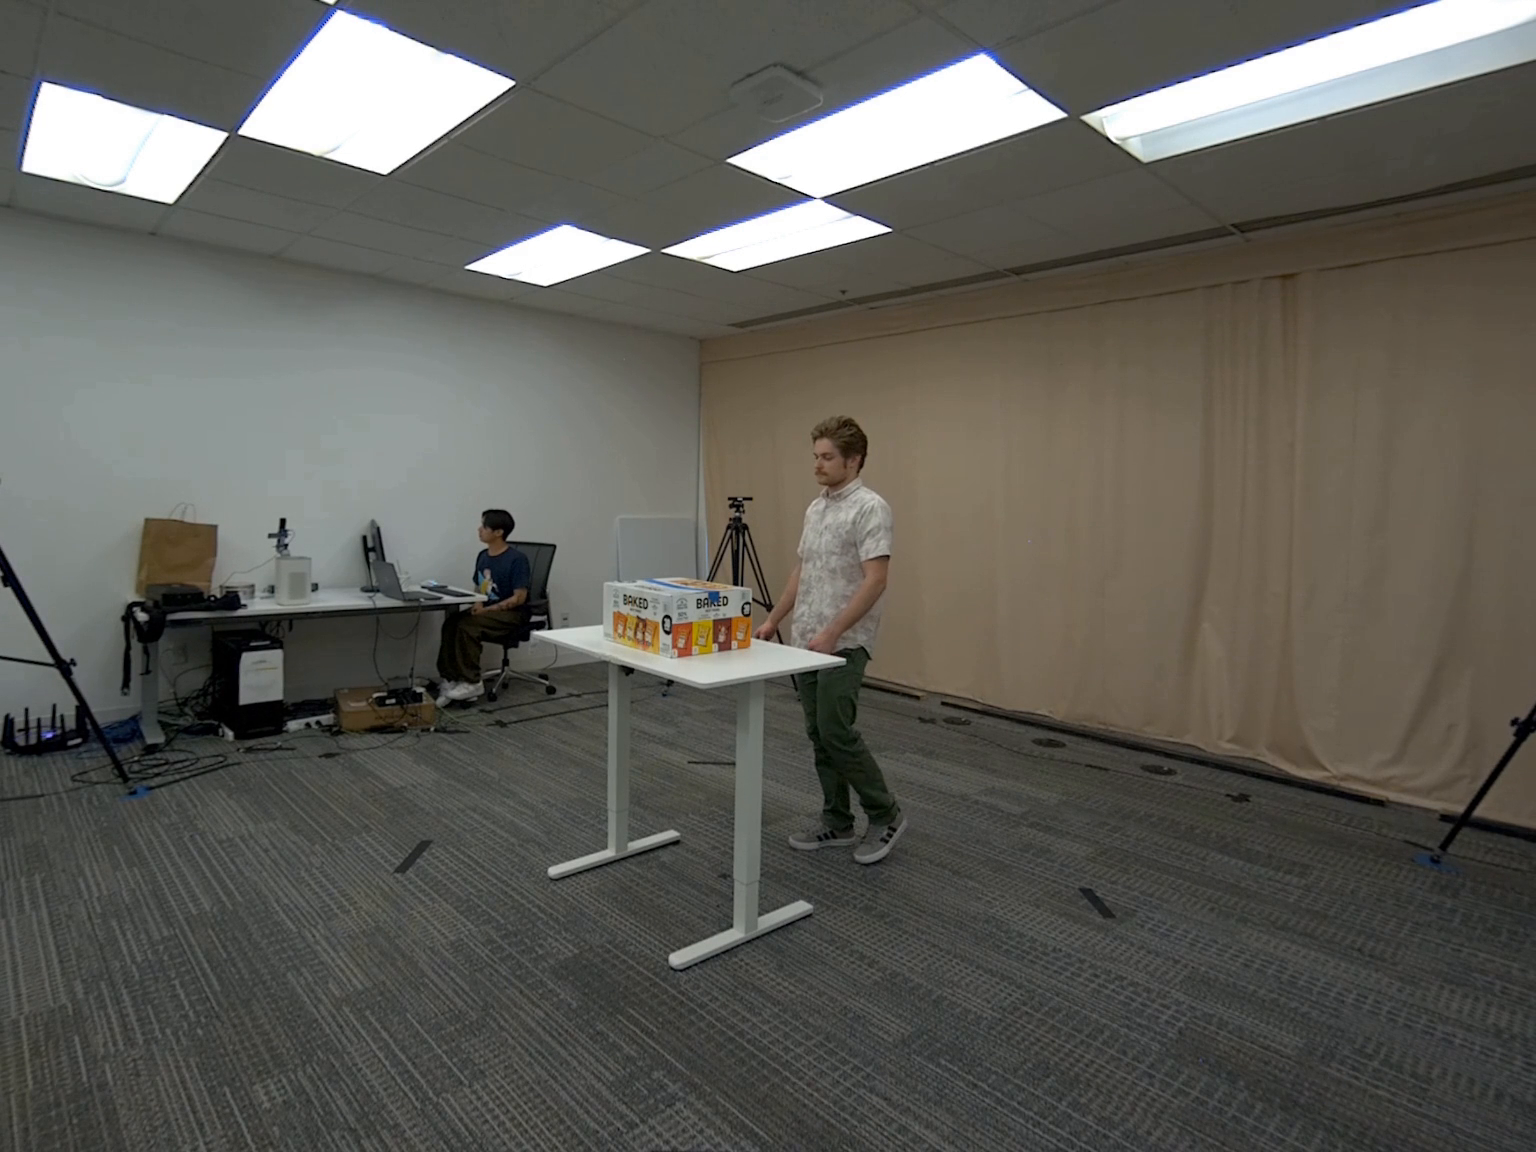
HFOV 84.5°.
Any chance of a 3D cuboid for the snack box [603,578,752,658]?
[{"bbox_3d":[-0.324,0.136,2.912,0.333,0.205,0.416,-3,7,-42],"label":"snack box"}]
